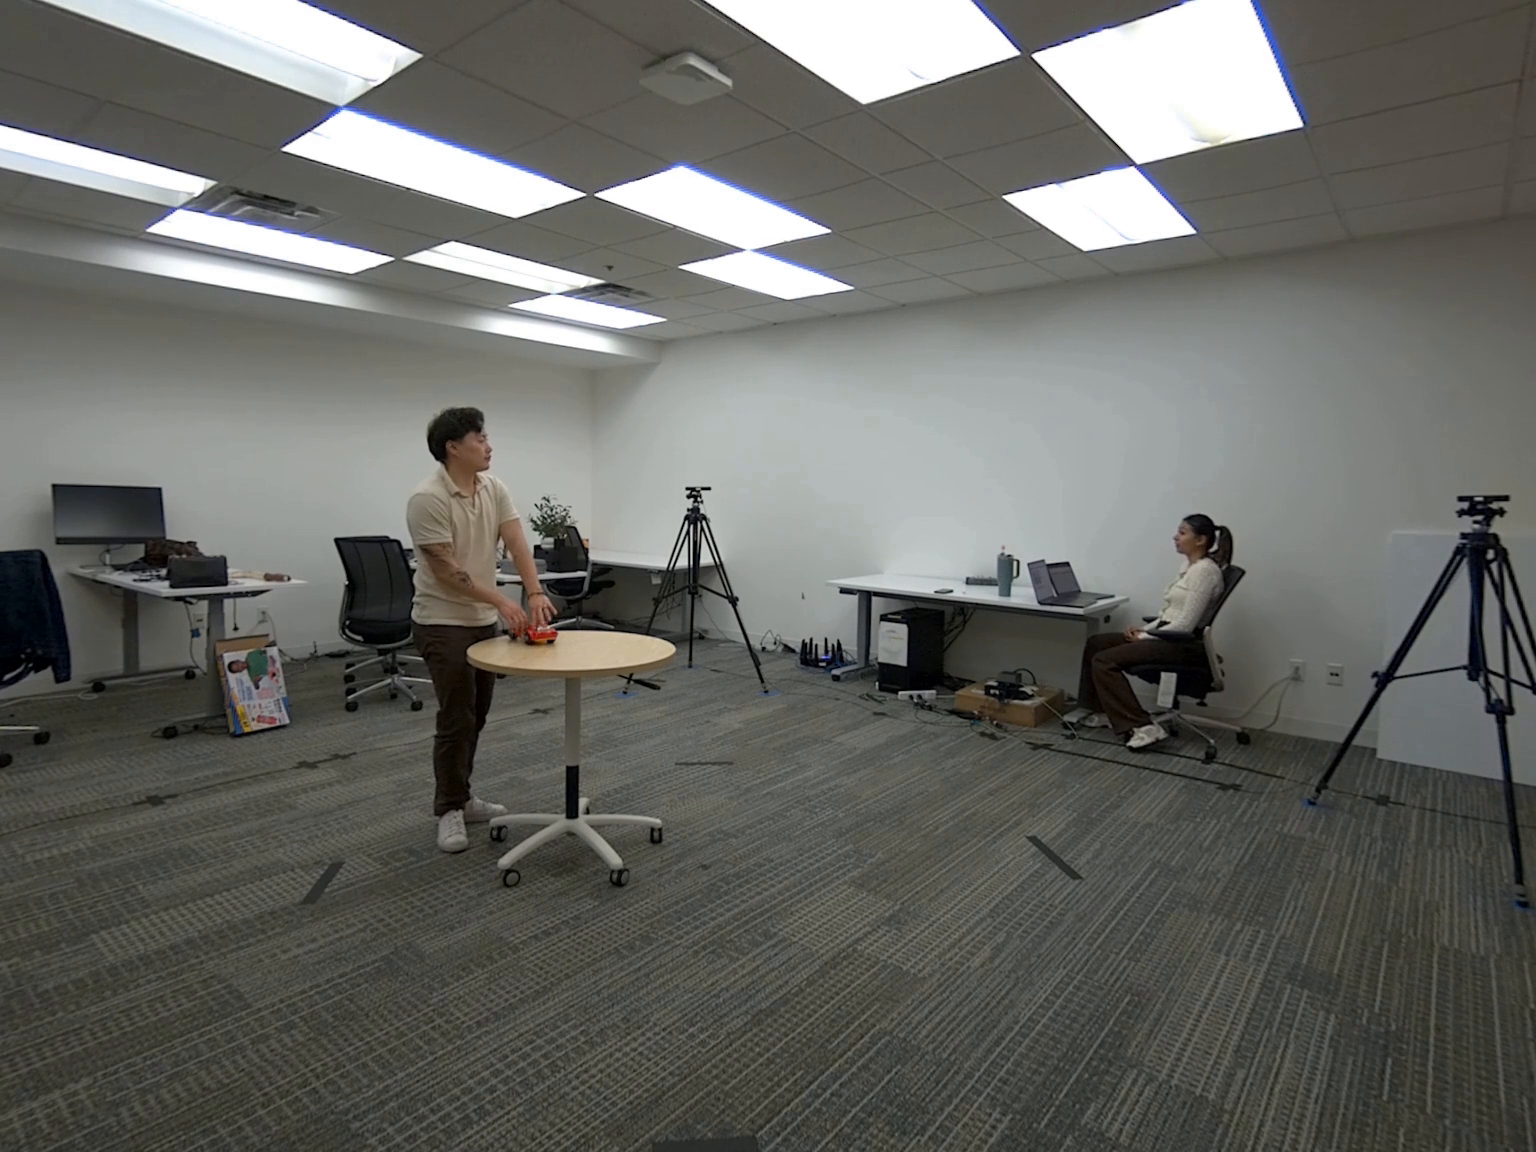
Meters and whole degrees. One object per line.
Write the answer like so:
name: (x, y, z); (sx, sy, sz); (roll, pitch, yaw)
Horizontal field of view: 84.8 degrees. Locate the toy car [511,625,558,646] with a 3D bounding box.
toy car: (-0.926, 0.223, 3.293); (0.126, 0.083, 0.261); (-3, -4, -39)
